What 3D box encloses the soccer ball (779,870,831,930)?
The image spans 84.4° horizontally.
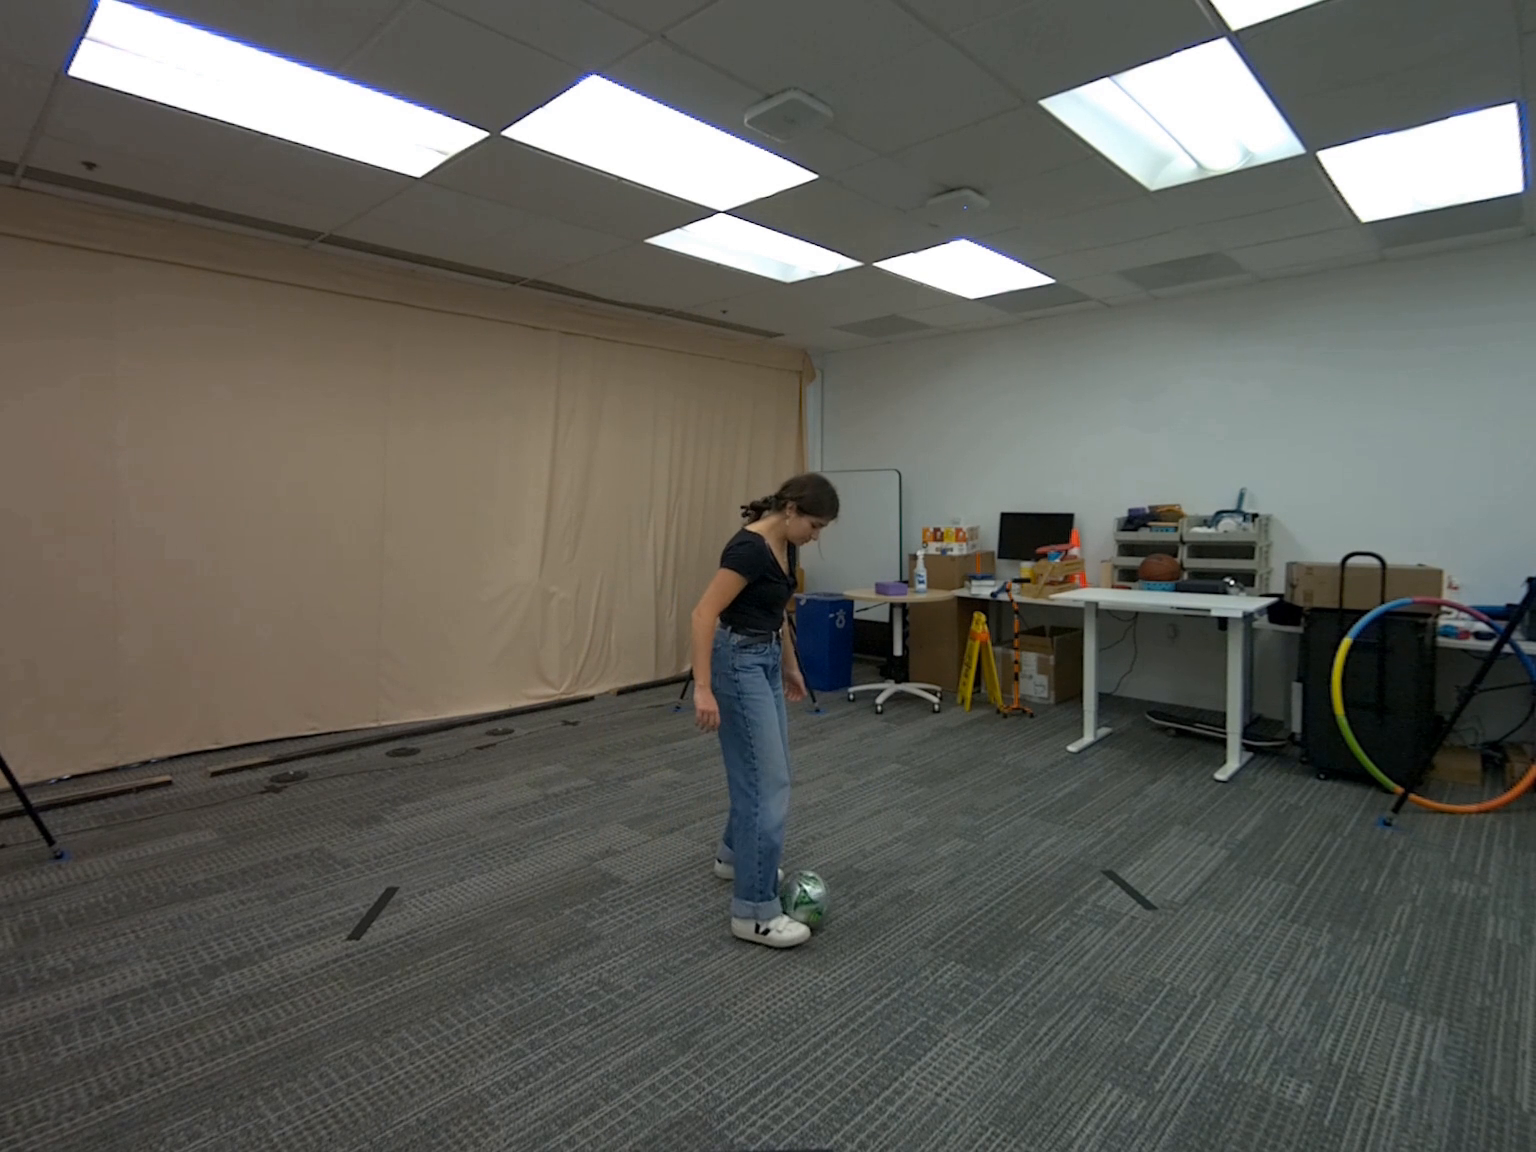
[{"bbox_3d":[0.120,1.070,2.779,0.187,0.187,0.188,0,4,-2],"label":"soccer ball"}]
